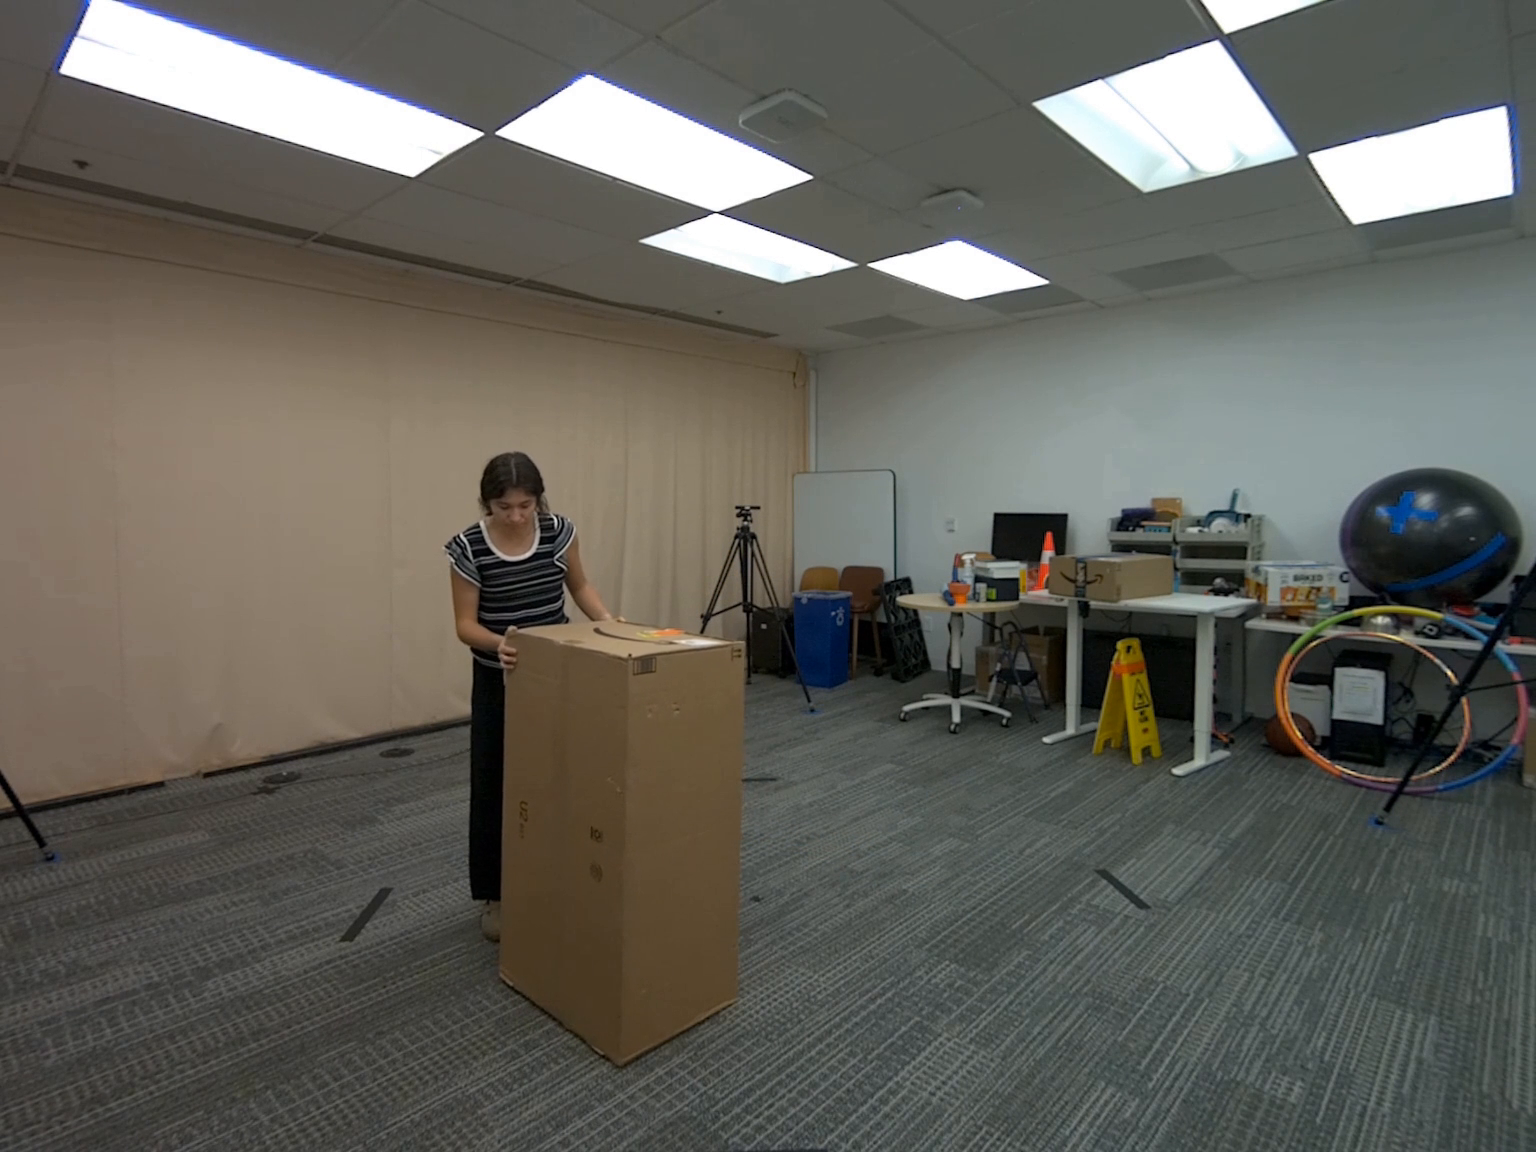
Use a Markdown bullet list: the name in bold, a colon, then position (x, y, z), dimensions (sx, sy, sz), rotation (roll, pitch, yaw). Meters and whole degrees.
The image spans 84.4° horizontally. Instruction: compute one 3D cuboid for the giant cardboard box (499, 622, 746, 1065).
- **giant cardboard box**: position (-0.423, 0.688, 2.408), dimensions (0.597, 1.024, 0.413), rotation (3, 3, 44)
